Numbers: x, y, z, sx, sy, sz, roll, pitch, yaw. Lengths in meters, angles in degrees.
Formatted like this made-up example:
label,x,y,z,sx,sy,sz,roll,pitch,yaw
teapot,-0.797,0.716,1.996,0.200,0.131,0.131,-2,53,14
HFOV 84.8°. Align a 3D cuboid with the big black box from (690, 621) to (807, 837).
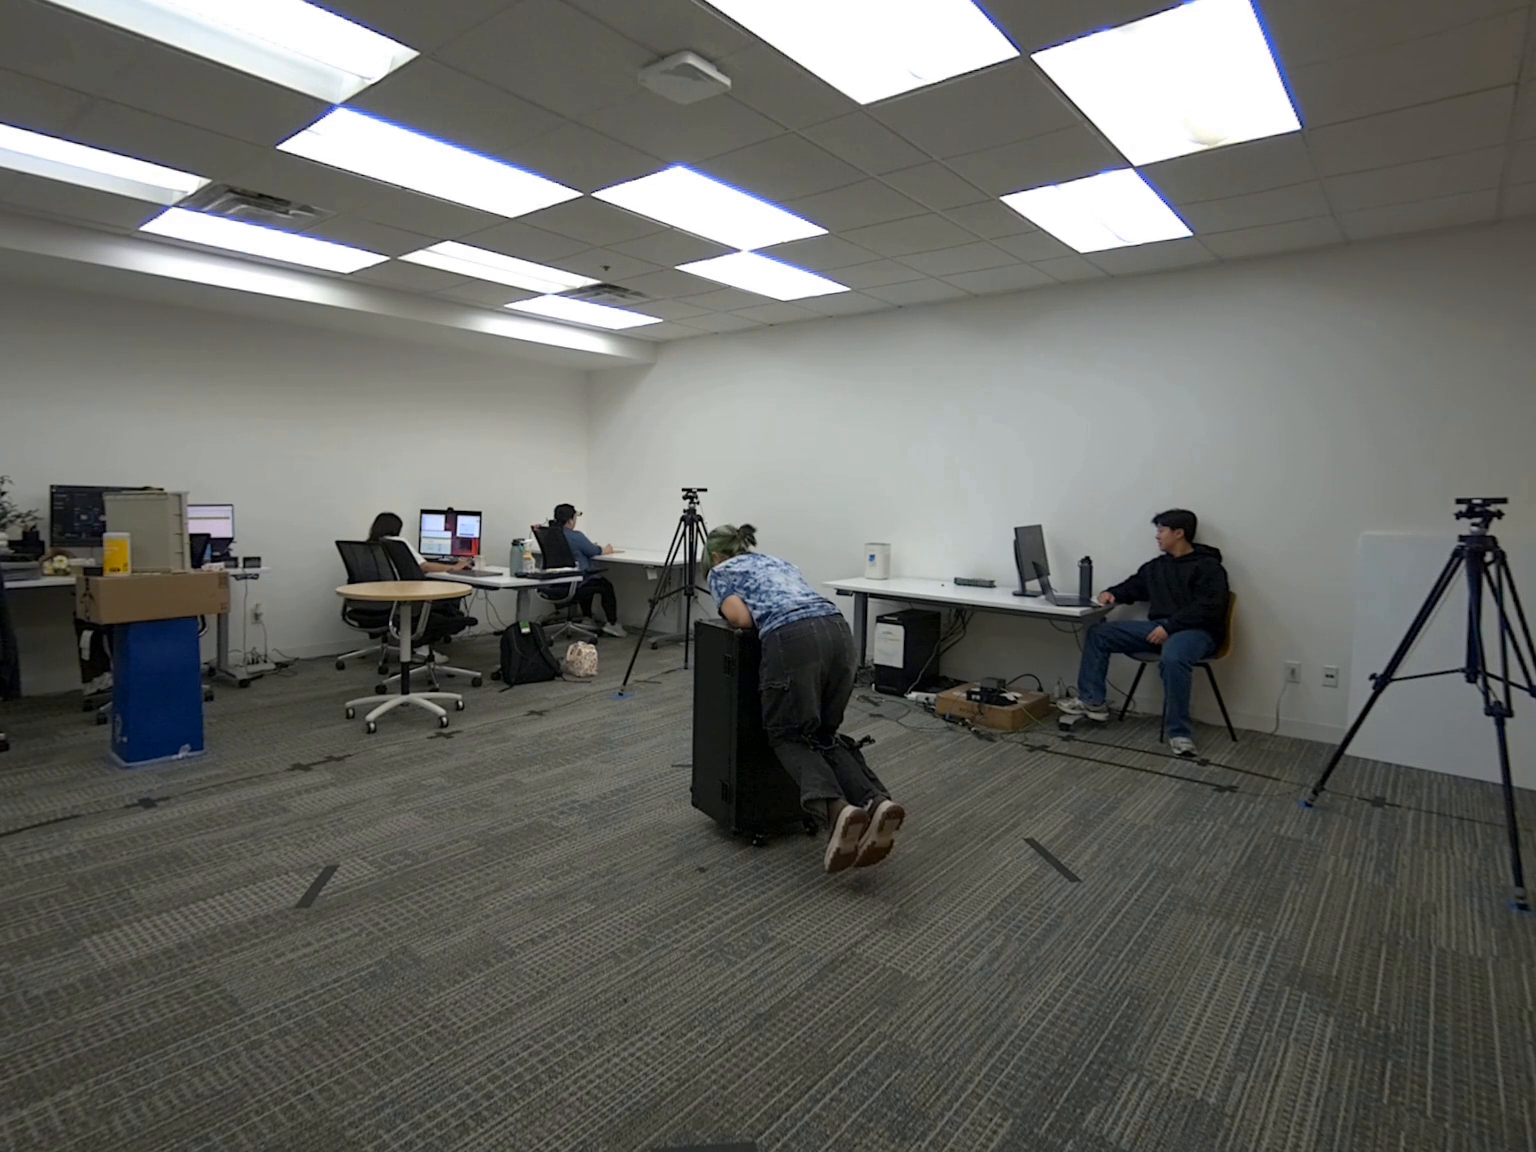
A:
label,x,y,z,sx,sy,sz,roll,pitch,yaw
big black box,-0.032,0.556,3.515,0.507,0.860,0.408,0,3,-32
